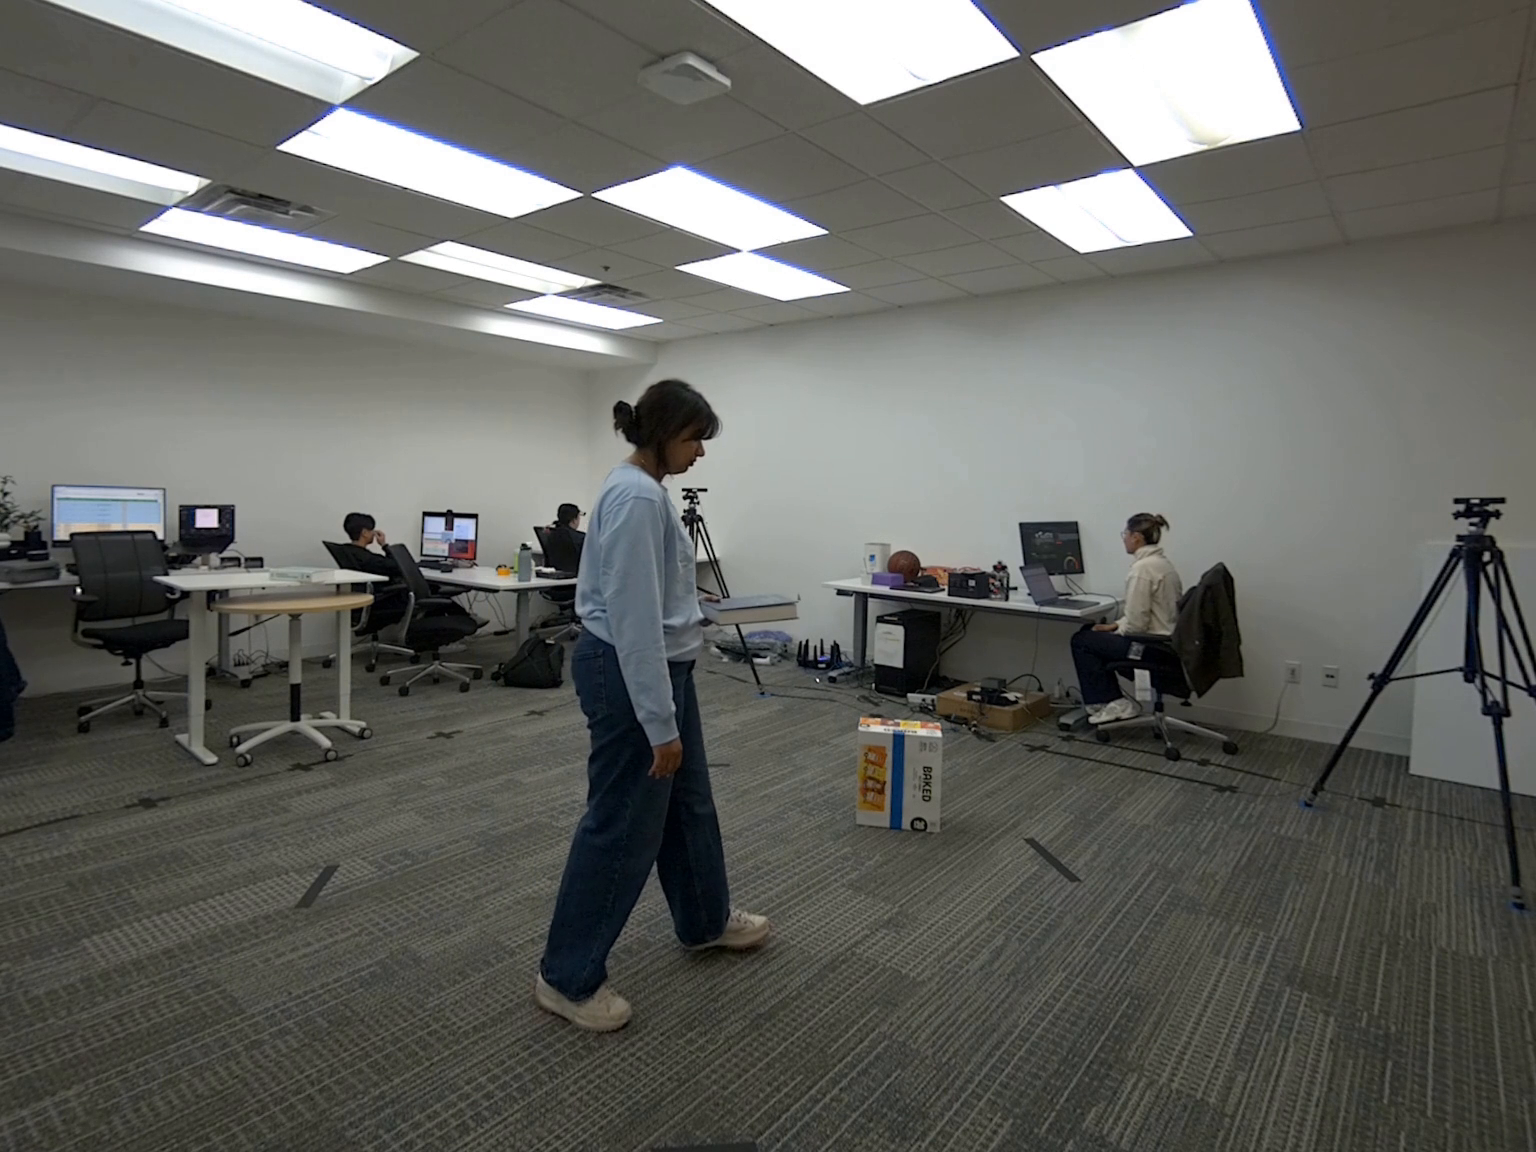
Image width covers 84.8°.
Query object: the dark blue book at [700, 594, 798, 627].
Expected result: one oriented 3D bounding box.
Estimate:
[{"bbox_3d":[-0.076,0.096,2.433,0.243,0.045,0.166,-3,10,-9],"label":"dark blue book"}]
